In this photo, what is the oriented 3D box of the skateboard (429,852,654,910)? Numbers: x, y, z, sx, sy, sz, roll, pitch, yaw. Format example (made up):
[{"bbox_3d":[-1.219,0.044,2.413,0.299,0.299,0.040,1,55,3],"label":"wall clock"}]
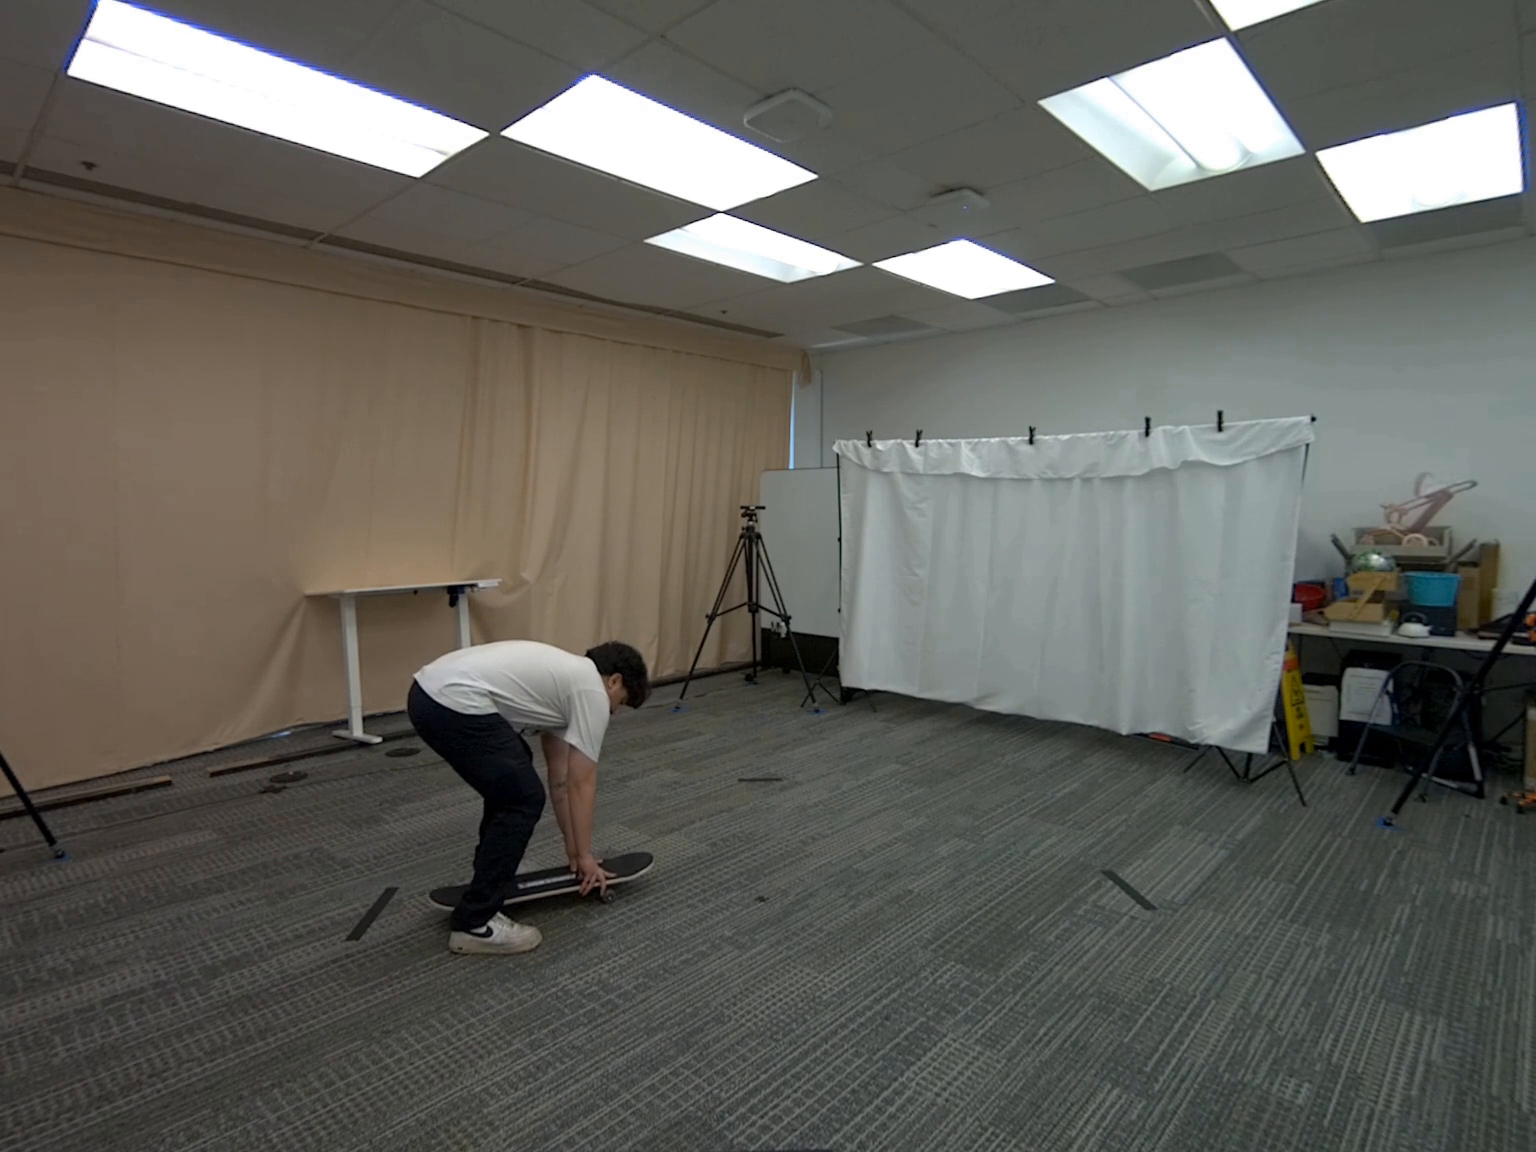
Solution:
[{"bbox_3d":[-0.774,1.107,2.937,0.767,0.110,0.198,-3,5,-24],"label":"skateboard"}]
